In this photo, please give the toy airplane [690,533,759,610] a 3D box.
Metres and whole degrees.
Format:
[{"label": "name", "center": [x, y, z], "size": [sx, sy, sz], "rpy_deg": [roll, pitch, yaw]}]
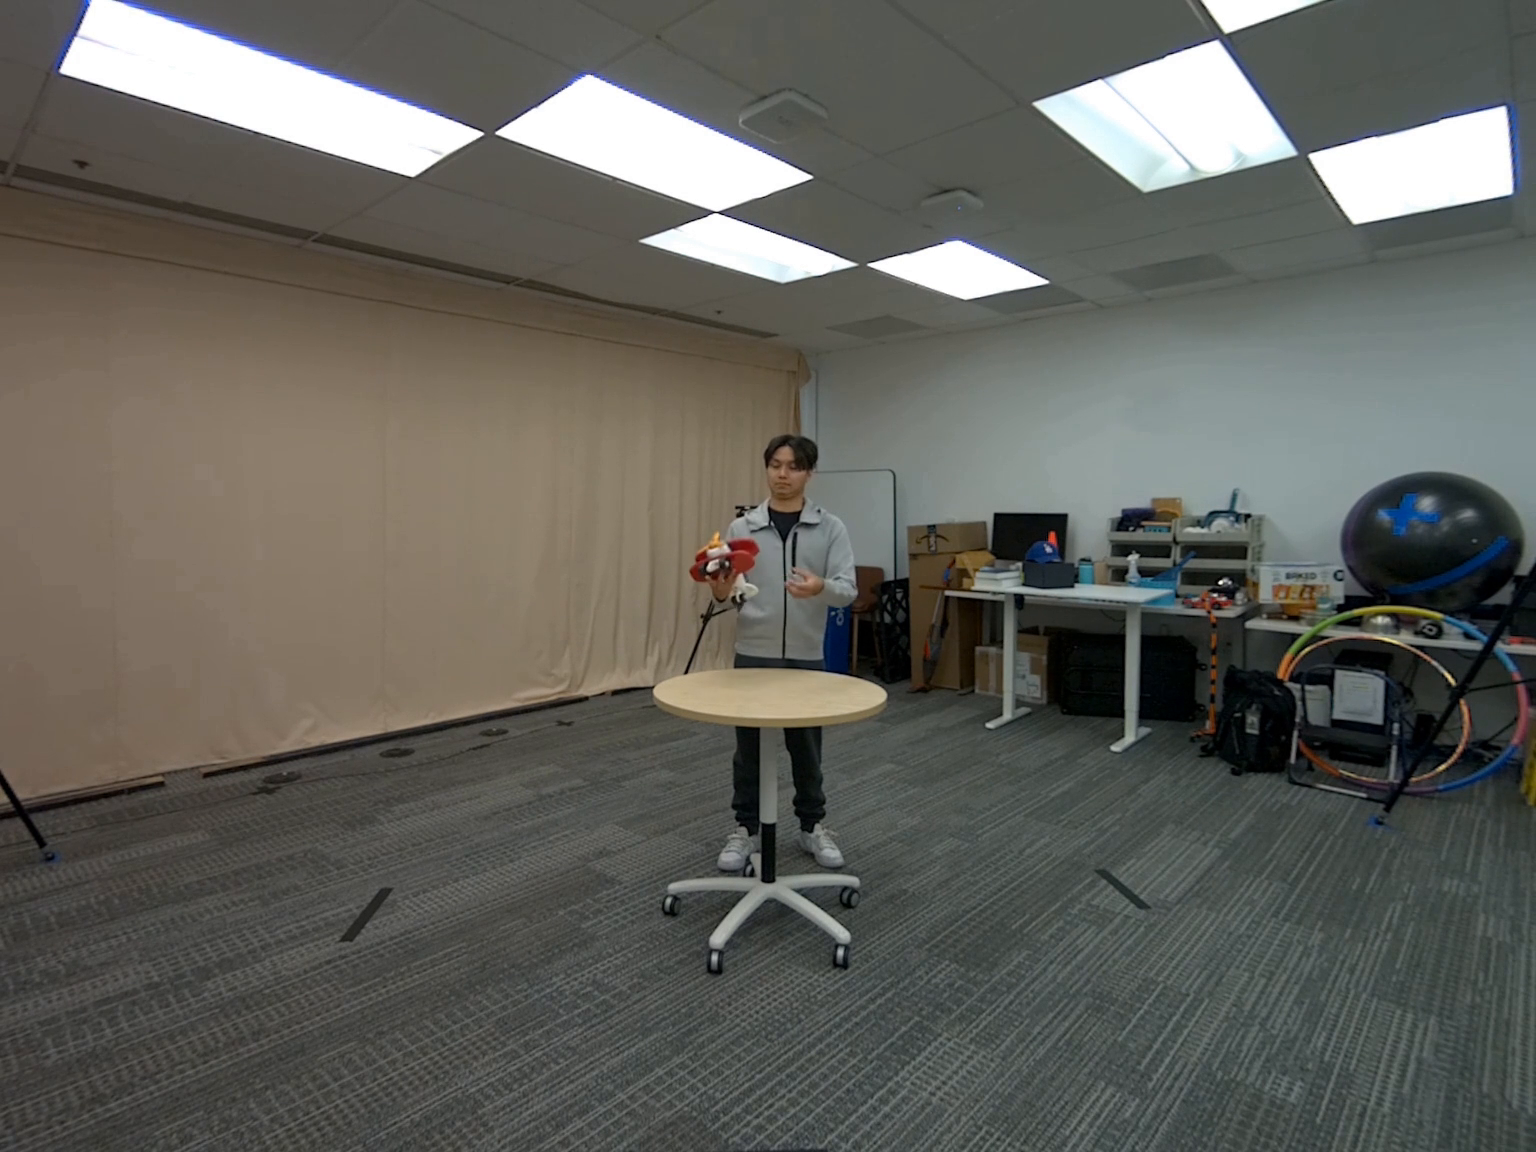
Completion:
[{"label": "toy airplane", "center": [-0.161, -0.016, 3.053], "size": [0.253, 0.158, 0.254], "rpy_deg": [3, -39, 7]}]
